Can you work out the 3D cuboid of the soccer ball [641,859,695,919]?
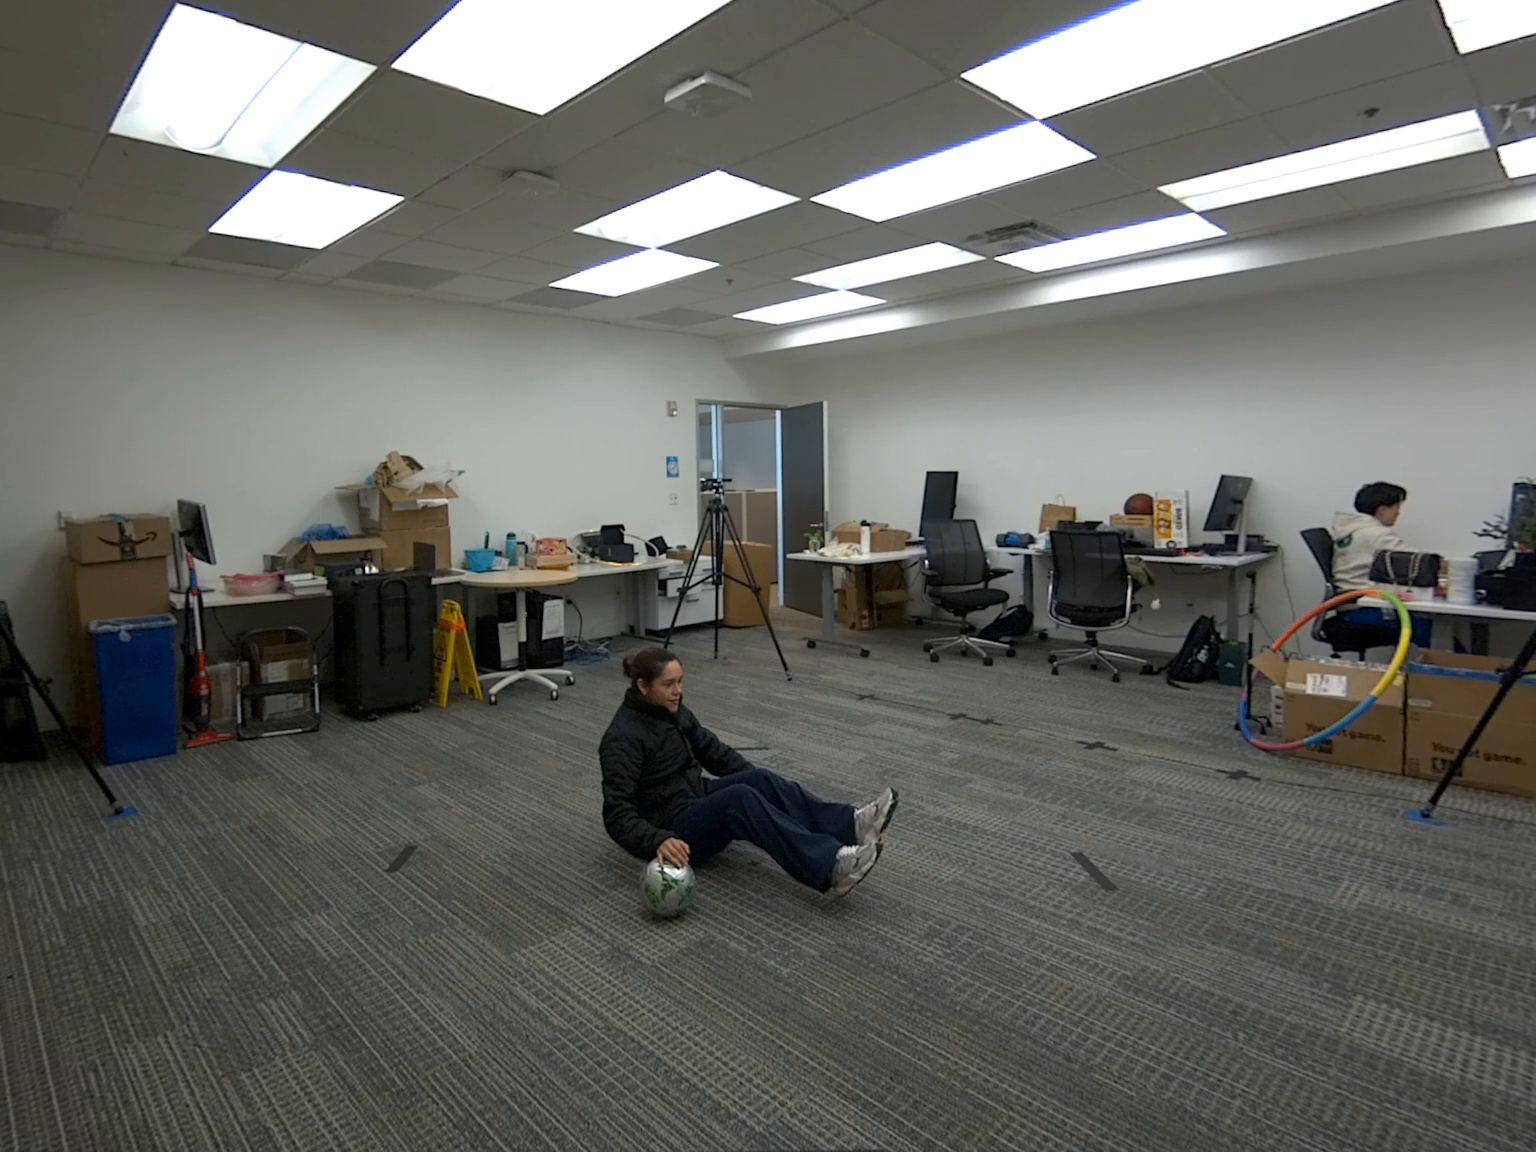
[{"bbox_3d":[-0.323,0.999,2.756,0.187,0.187,0.188,-1,5,-2],"label":"soccer ball"}]
